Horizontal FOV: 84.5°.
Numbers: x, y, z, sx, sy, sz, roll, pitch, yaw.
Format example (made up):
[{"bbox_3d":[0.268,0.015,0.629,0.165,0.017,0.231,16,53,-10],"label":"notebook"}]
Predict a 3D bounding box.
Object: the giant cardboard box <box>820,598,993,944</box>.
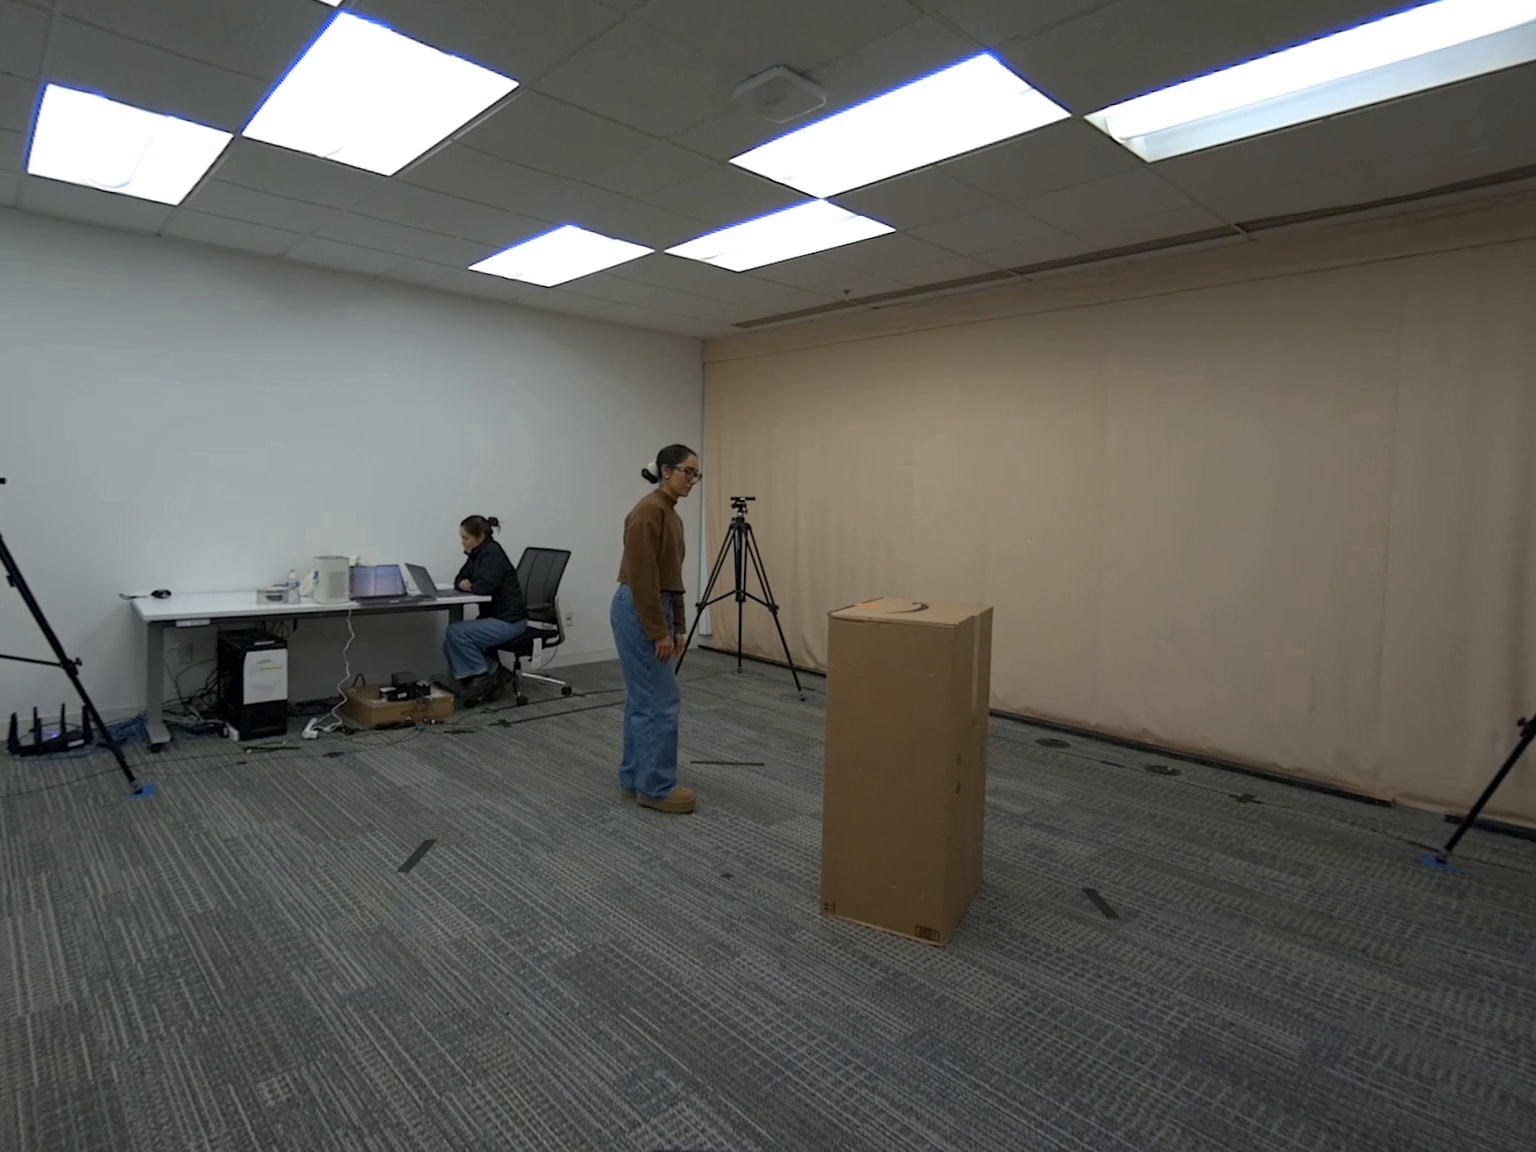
[{"bbox_3d":[0.494,0.624,2.950,0.435,1.023,0.567,3,4,28],"label":"giant cardboard box"}]
